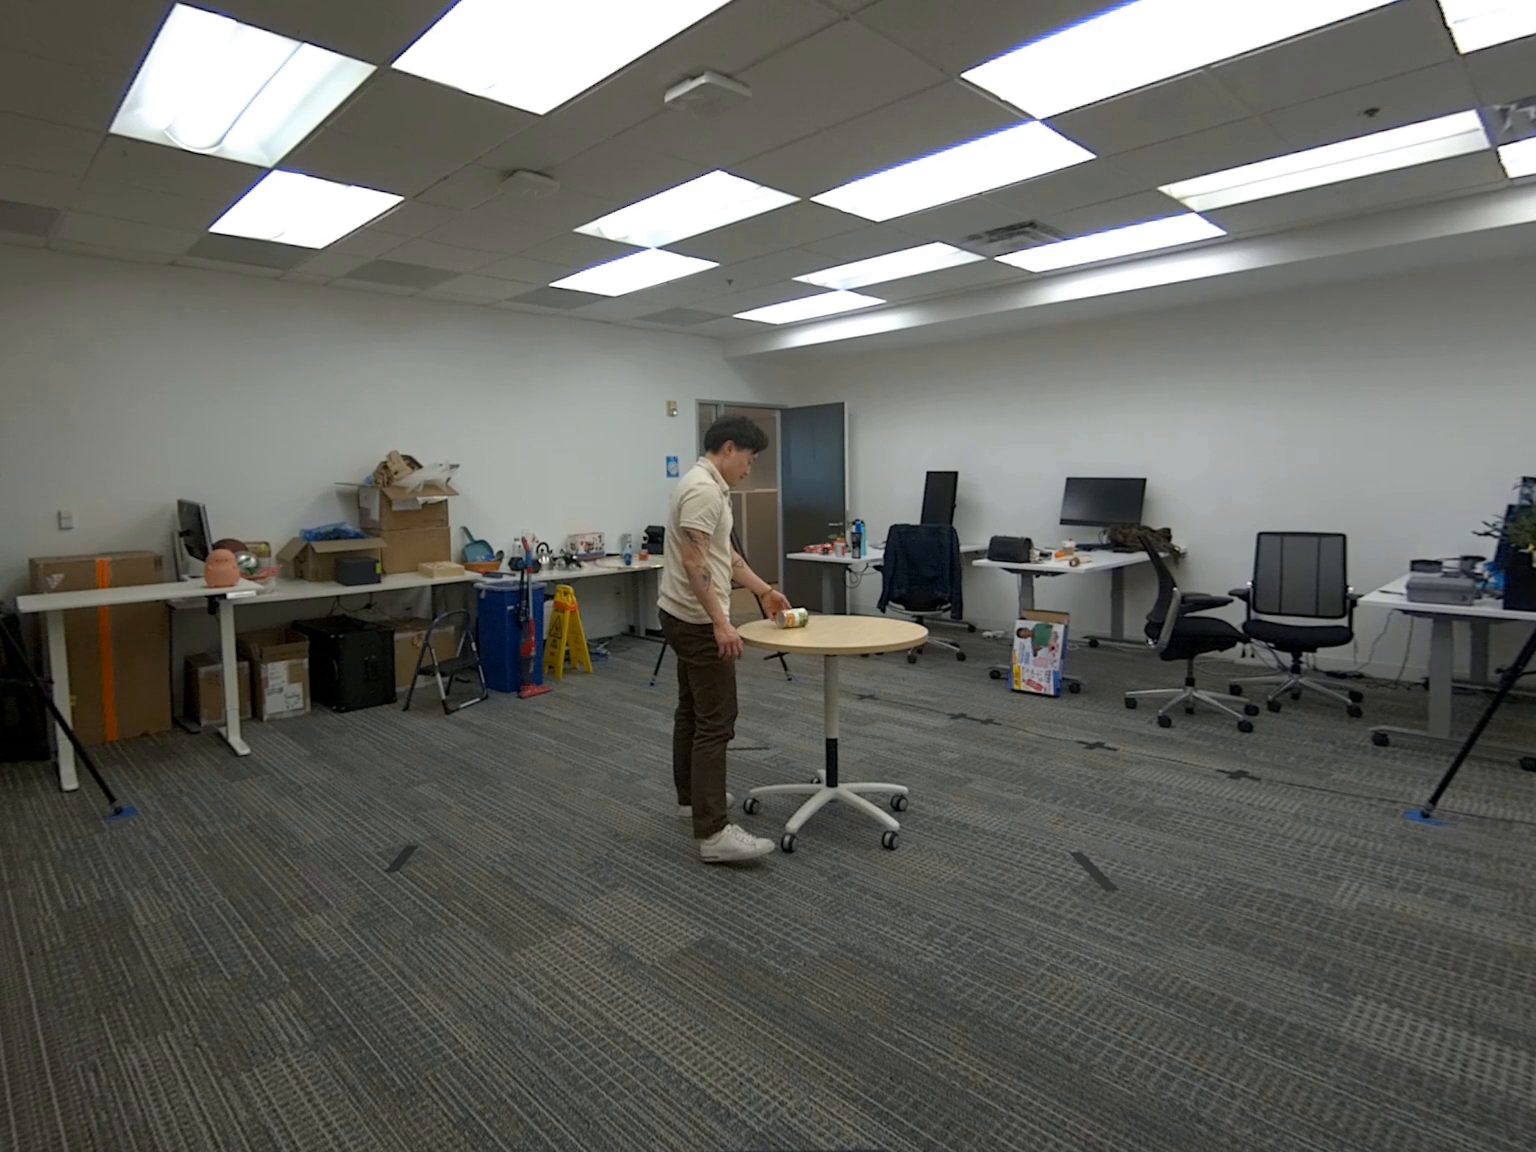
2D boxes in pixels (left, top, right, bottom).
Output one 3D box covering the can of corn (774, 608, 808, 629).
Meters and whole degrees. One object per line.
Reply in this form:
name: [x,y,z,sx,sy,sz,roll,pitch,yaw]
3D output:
can of corn: [0.103,0.172,3.510,0.109,0.074,0.076,-5,6,-27]
